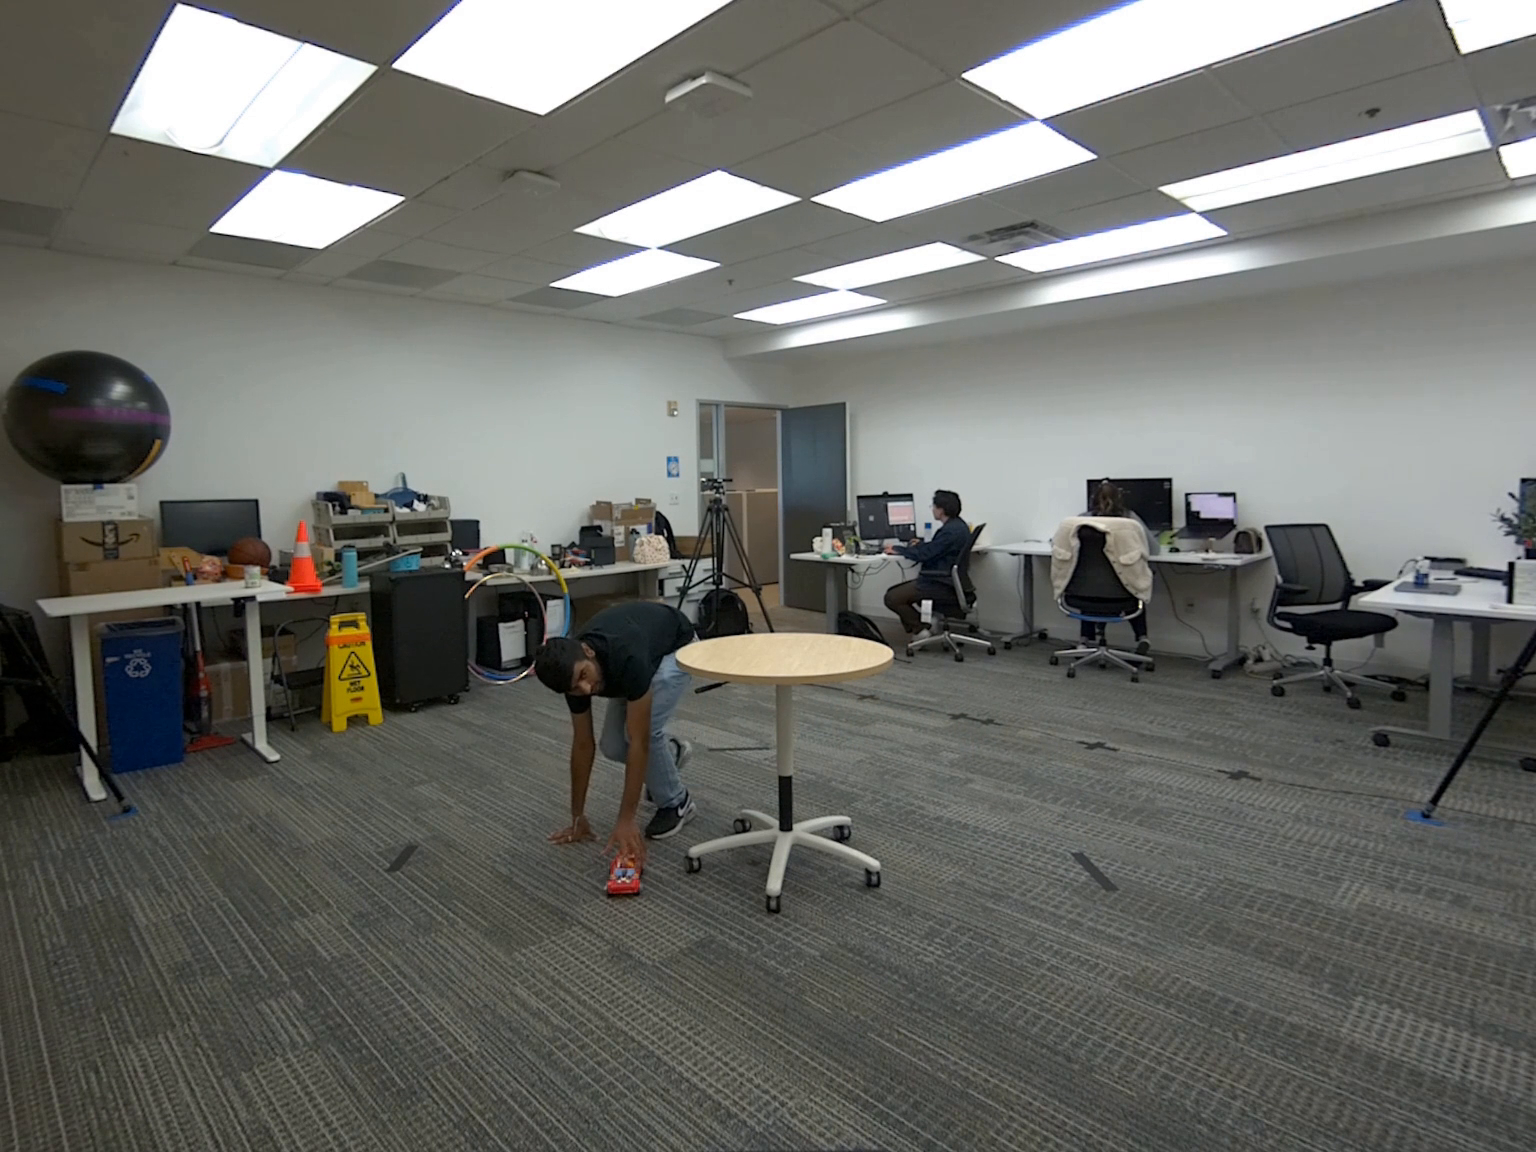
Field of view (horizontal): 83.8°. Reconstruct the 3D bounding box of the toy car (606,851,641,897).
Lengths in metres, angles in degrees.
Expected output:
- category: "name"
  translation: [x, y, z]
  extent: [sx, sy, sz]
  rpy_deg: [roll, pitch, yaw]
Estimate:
- category: "toy car"
  translation: [-0.510, 1.037, 2.979]
  extent: [0.130, 0.082, 0.258]
  rpy_deg: [-2, 18, -1]
